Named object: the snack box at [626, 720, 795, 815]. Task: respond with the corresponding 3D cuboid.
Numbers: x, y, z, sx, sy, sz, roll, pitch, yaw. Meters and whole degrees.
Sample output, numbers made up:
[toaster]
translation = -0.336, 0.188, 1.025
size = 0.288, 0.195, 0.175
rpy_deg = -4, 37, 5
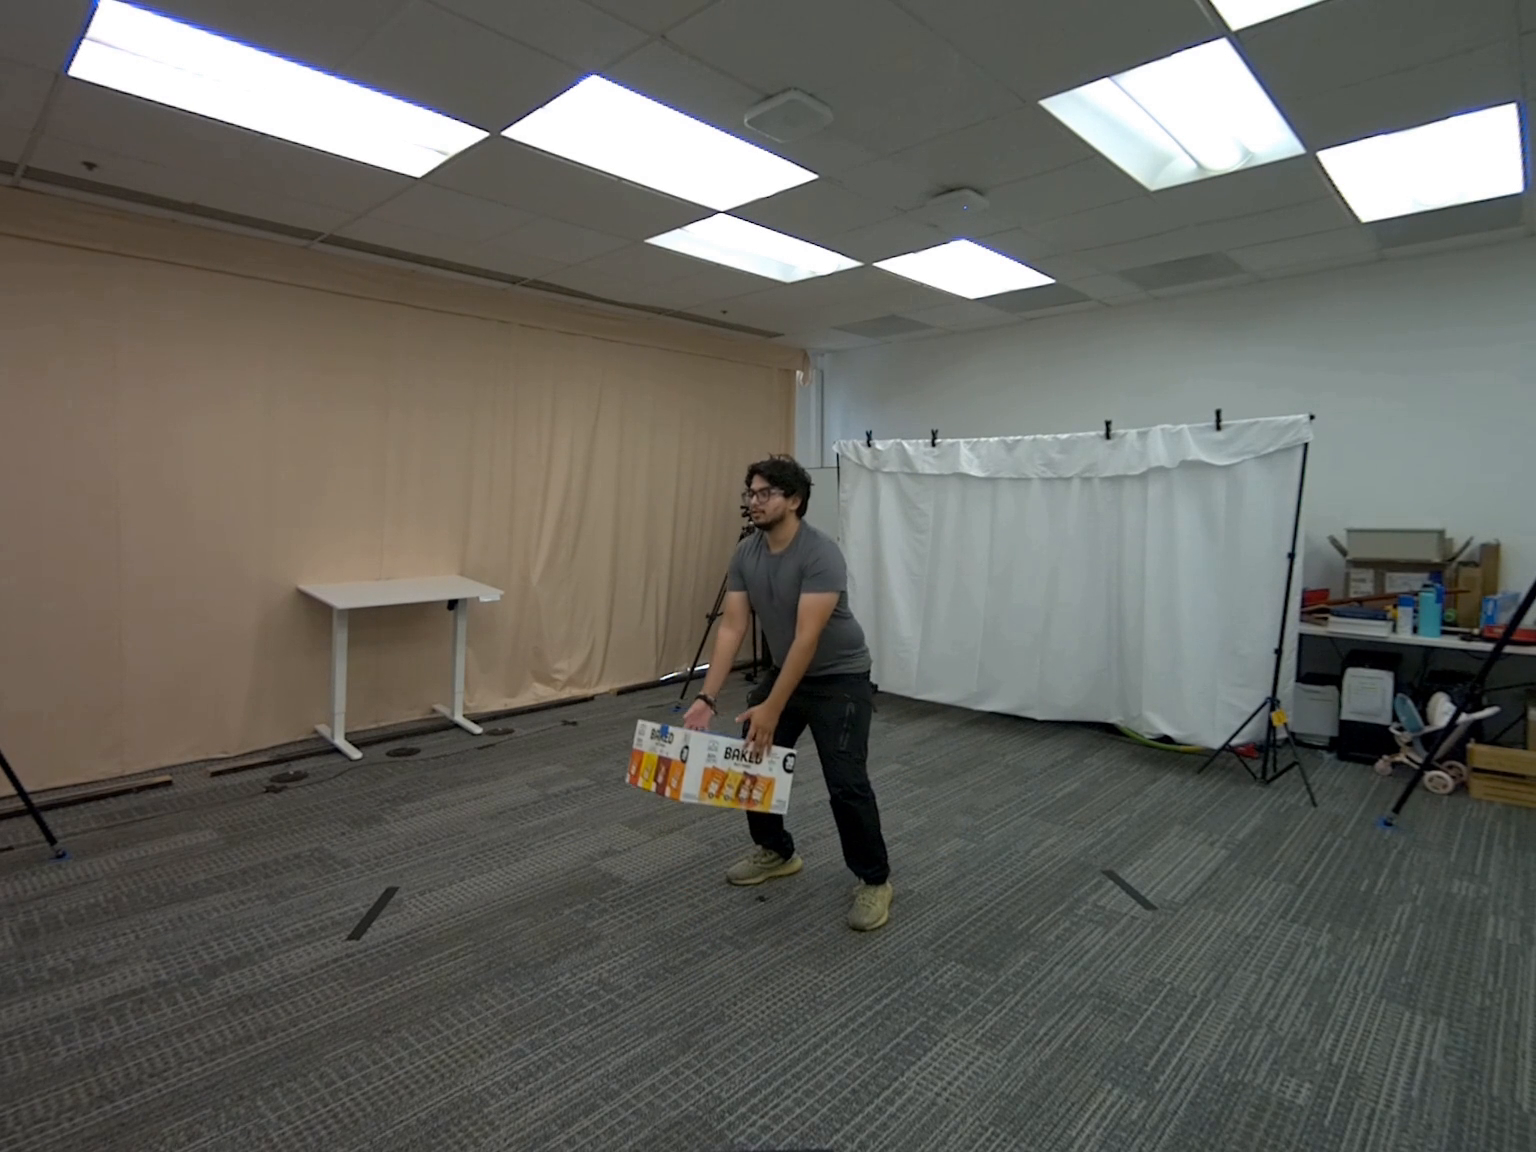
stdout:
[snack box]
translation = -0.184, 0.613, 2.684
size = 0.392, 0.206, 0.350
rpy_deg = 18, -13, -34
